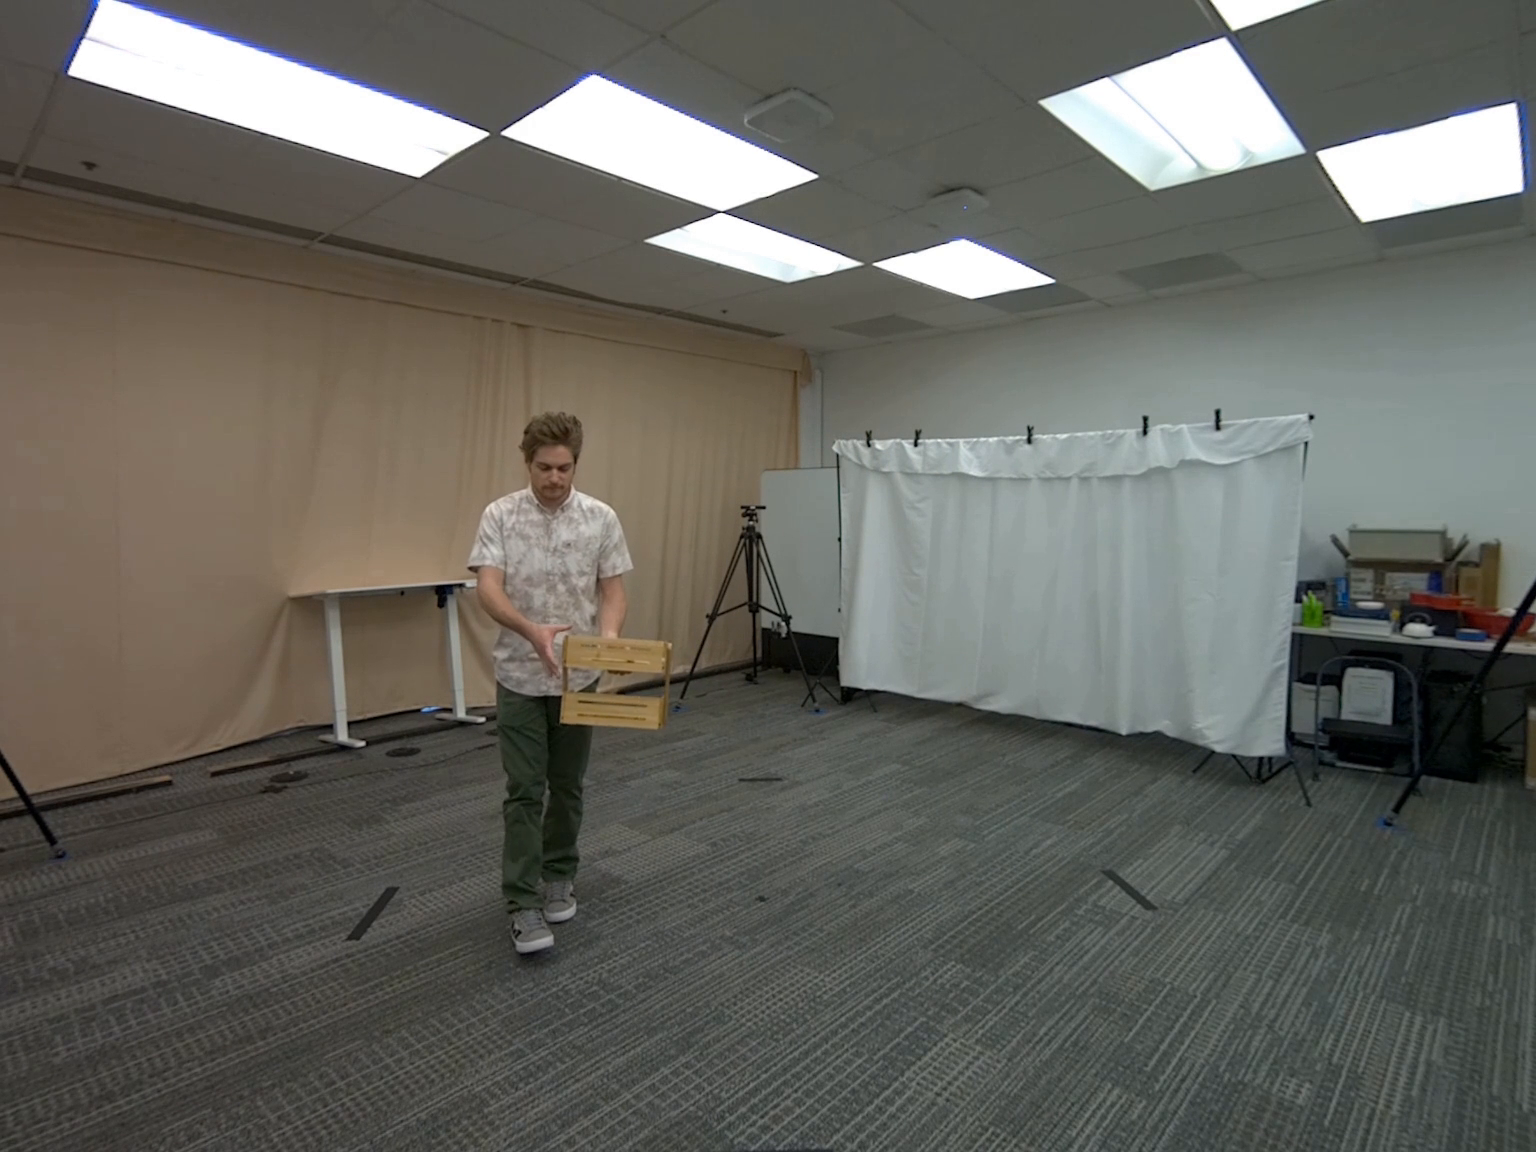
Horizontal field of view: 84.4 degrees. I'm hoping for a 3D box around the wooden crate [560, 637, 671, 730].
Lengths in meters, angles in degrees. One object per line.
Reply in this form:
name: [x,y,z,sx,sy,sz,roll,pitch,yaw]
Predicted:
wooden crate: [-0.471,0.325,2.605,0.322,0.275,0.302,4,-9,-6]
